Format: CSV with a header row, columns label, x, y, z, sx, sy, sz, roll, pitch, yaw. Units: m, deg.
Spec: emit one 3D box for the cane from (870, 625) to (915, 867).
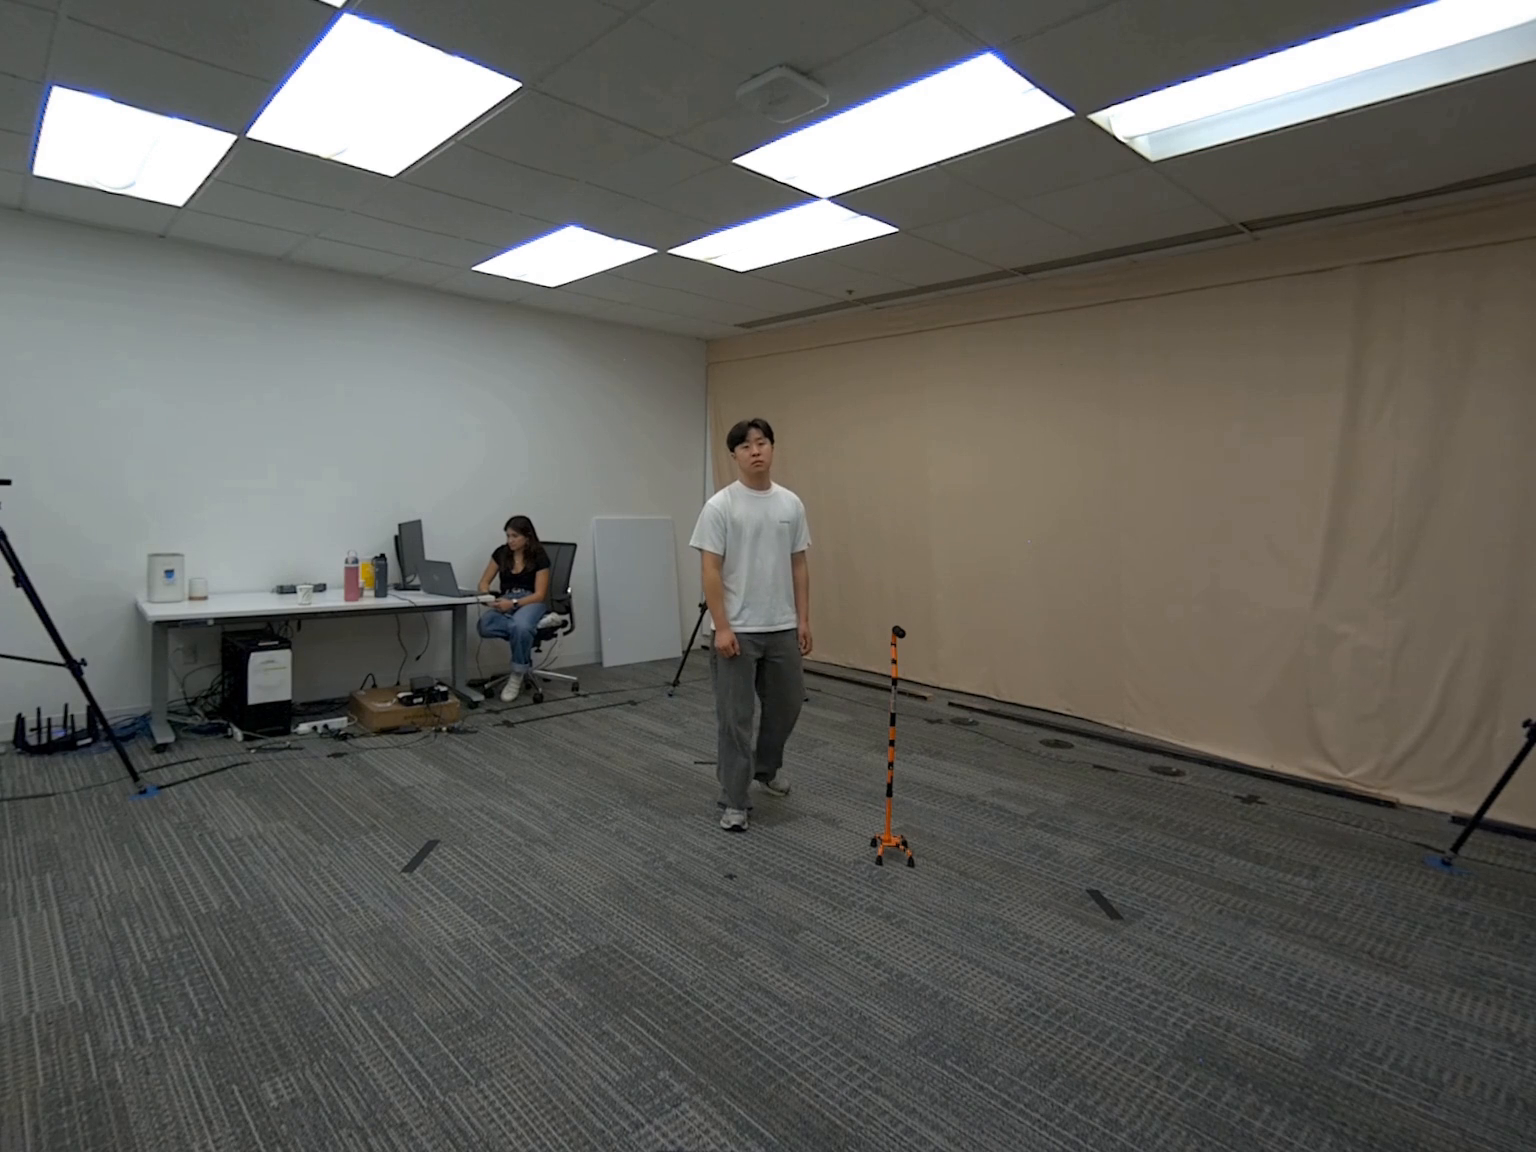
label,x,y,z,sx,sy,sz,roll,pitch,yaw
cane,0.496,0.654,3.299,0.152,0.906,0.206,2,3,1
